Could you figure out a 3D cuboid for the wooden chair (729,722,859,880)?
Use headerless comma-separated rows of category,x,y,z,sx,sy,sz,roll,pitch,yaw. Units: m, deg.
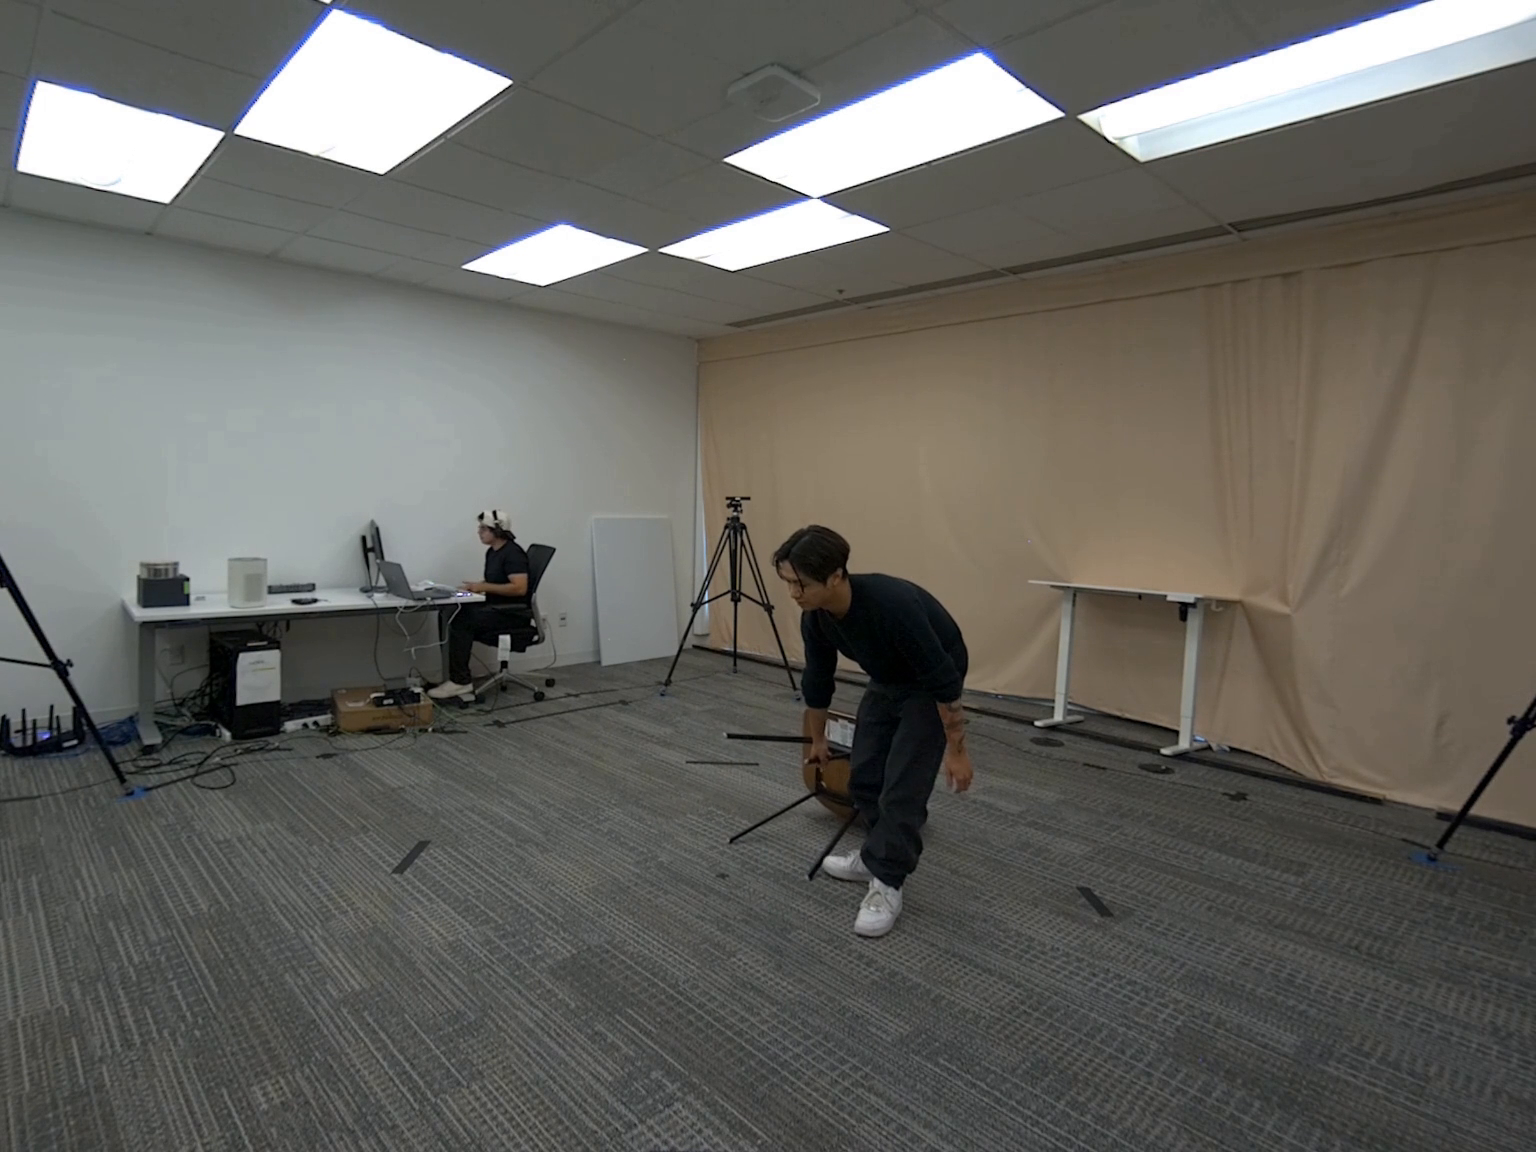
wooden chair,0.285,0.823,3.497,0.857,0.522,0.490,-1,4,-43
